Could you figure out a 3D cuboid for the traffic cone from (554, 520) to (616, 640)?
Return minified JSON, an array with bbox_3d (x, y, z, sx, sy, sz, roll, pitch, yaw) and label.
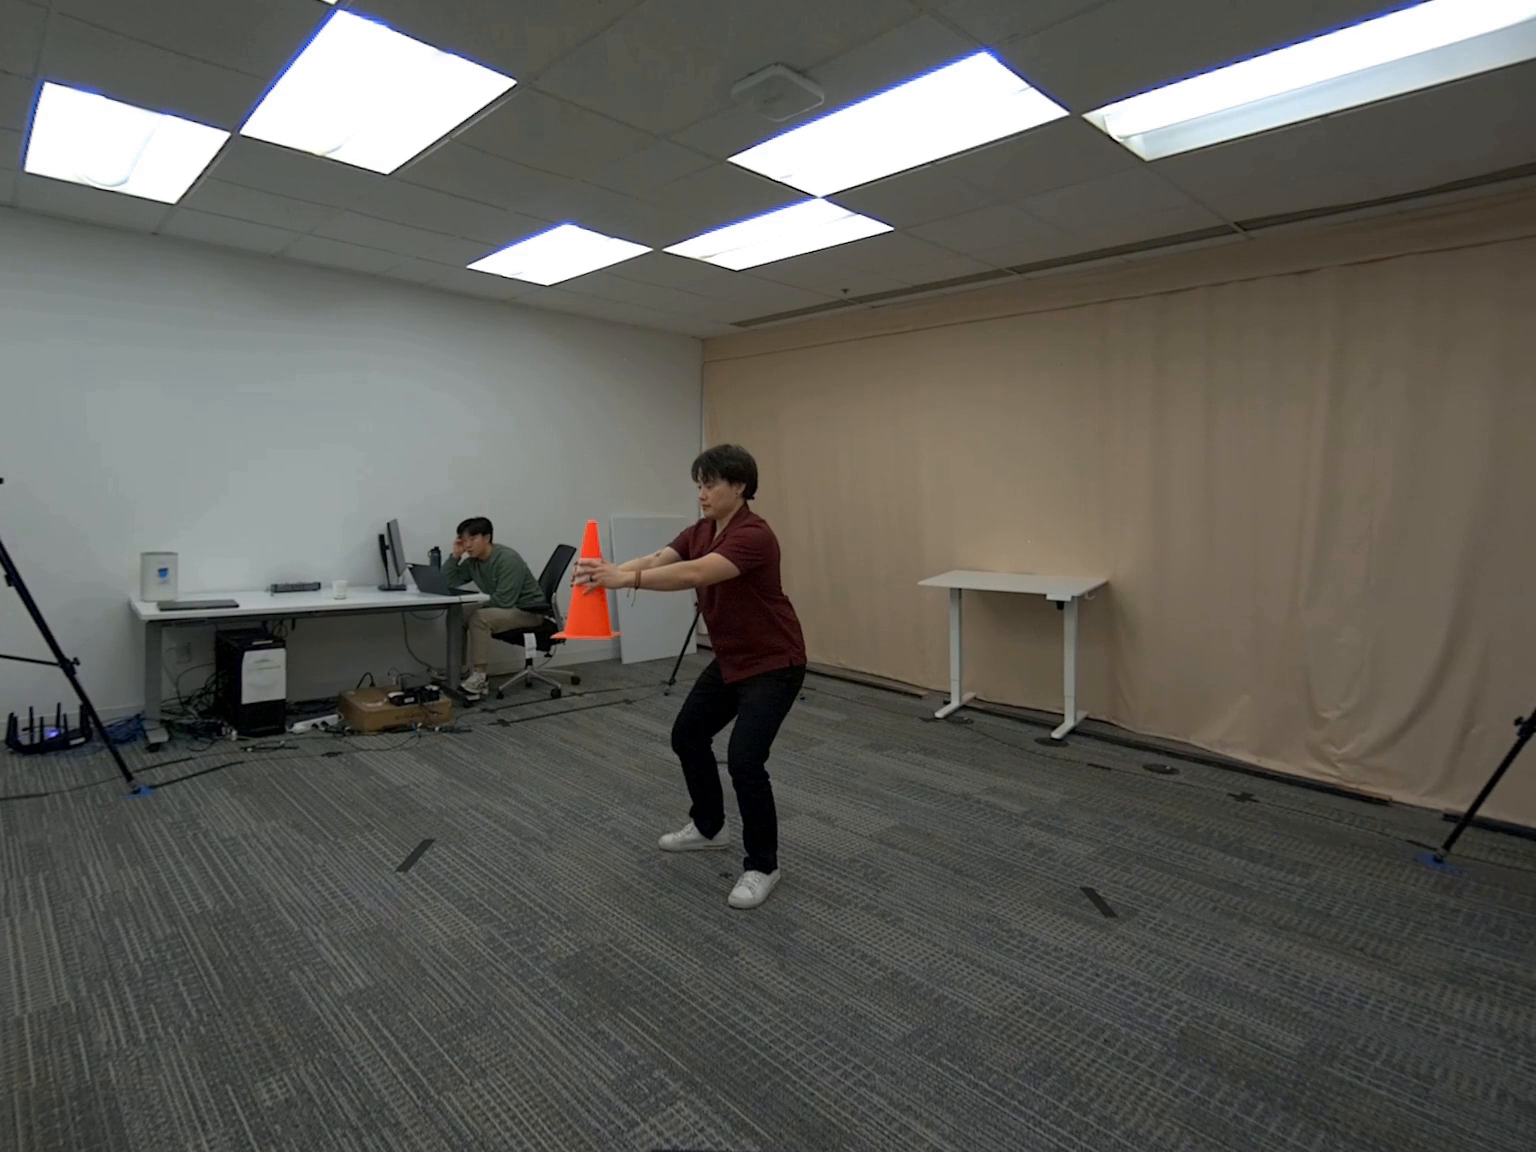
[{"bbox_3d":[-0.611,0.012,2.818,0.206,0.384,0.202,1,-1,4],"label":"traffic cone"}]
